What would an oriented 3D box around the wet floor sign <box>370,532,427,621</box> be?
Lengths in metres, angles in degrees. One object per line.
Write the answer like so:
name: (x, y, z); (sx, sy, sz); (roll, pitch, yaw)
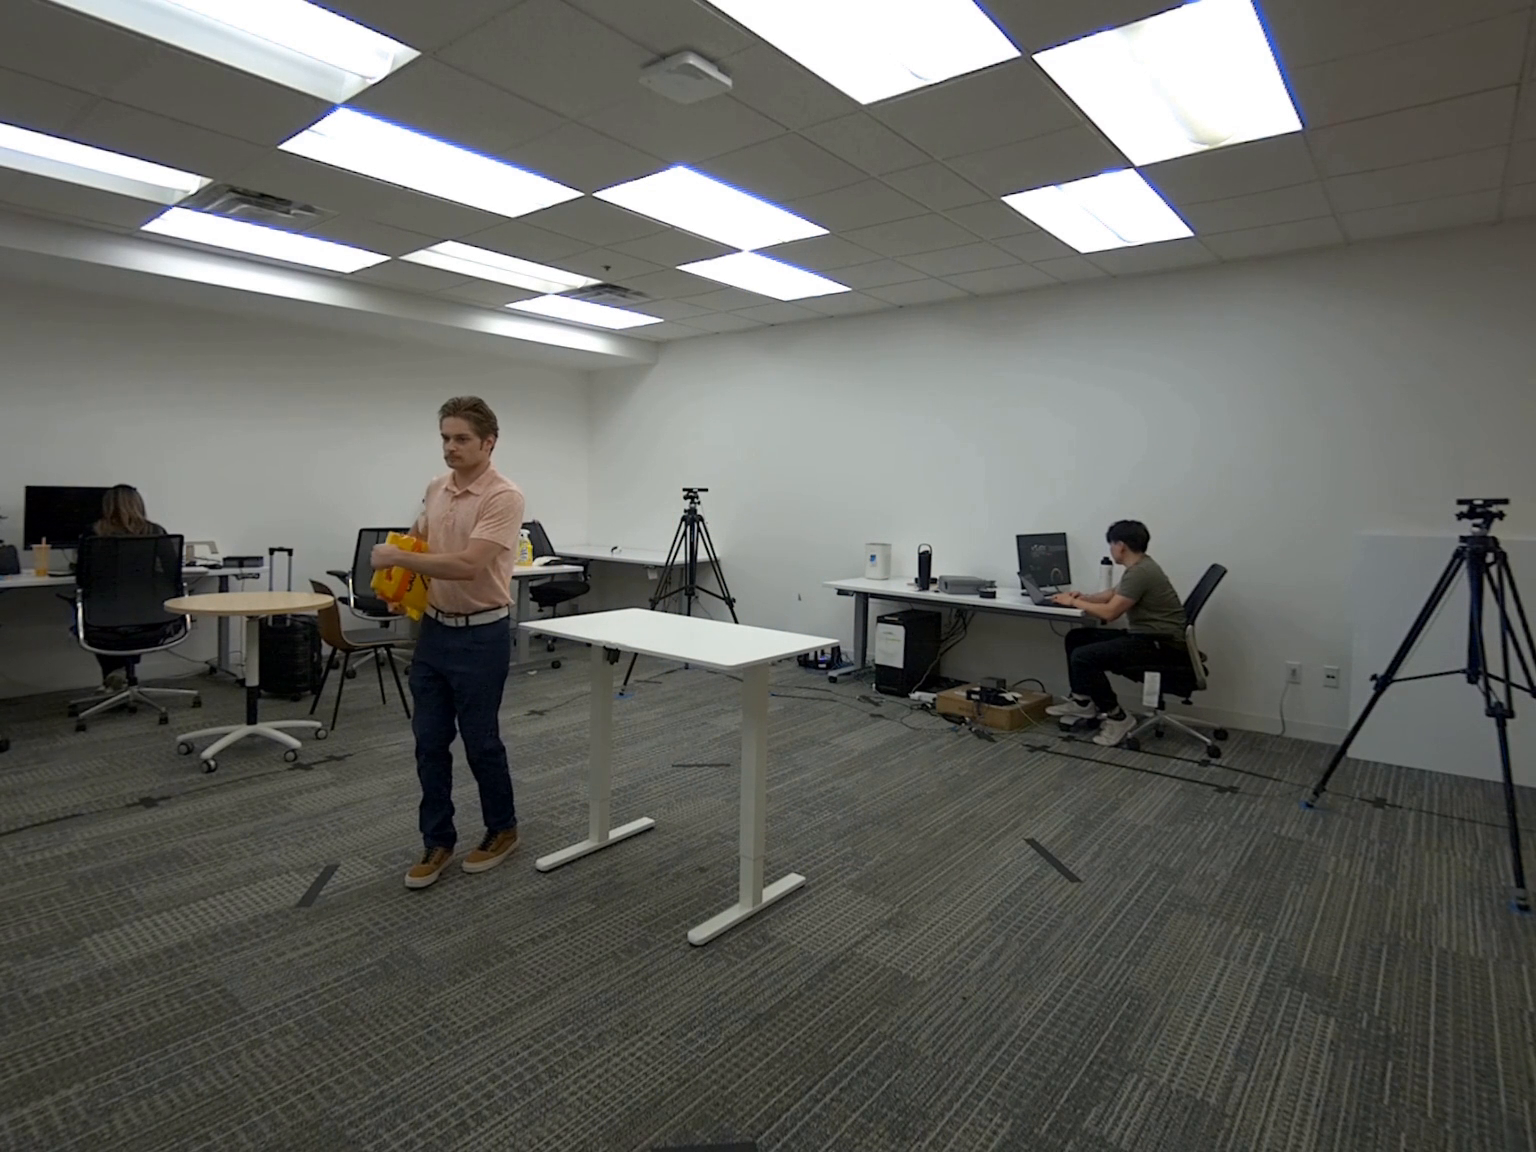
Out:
wet floor sign: (-1.323, 0.014, 3.181); (0.292, 0.285, 0.634); (12, -13, 6)
